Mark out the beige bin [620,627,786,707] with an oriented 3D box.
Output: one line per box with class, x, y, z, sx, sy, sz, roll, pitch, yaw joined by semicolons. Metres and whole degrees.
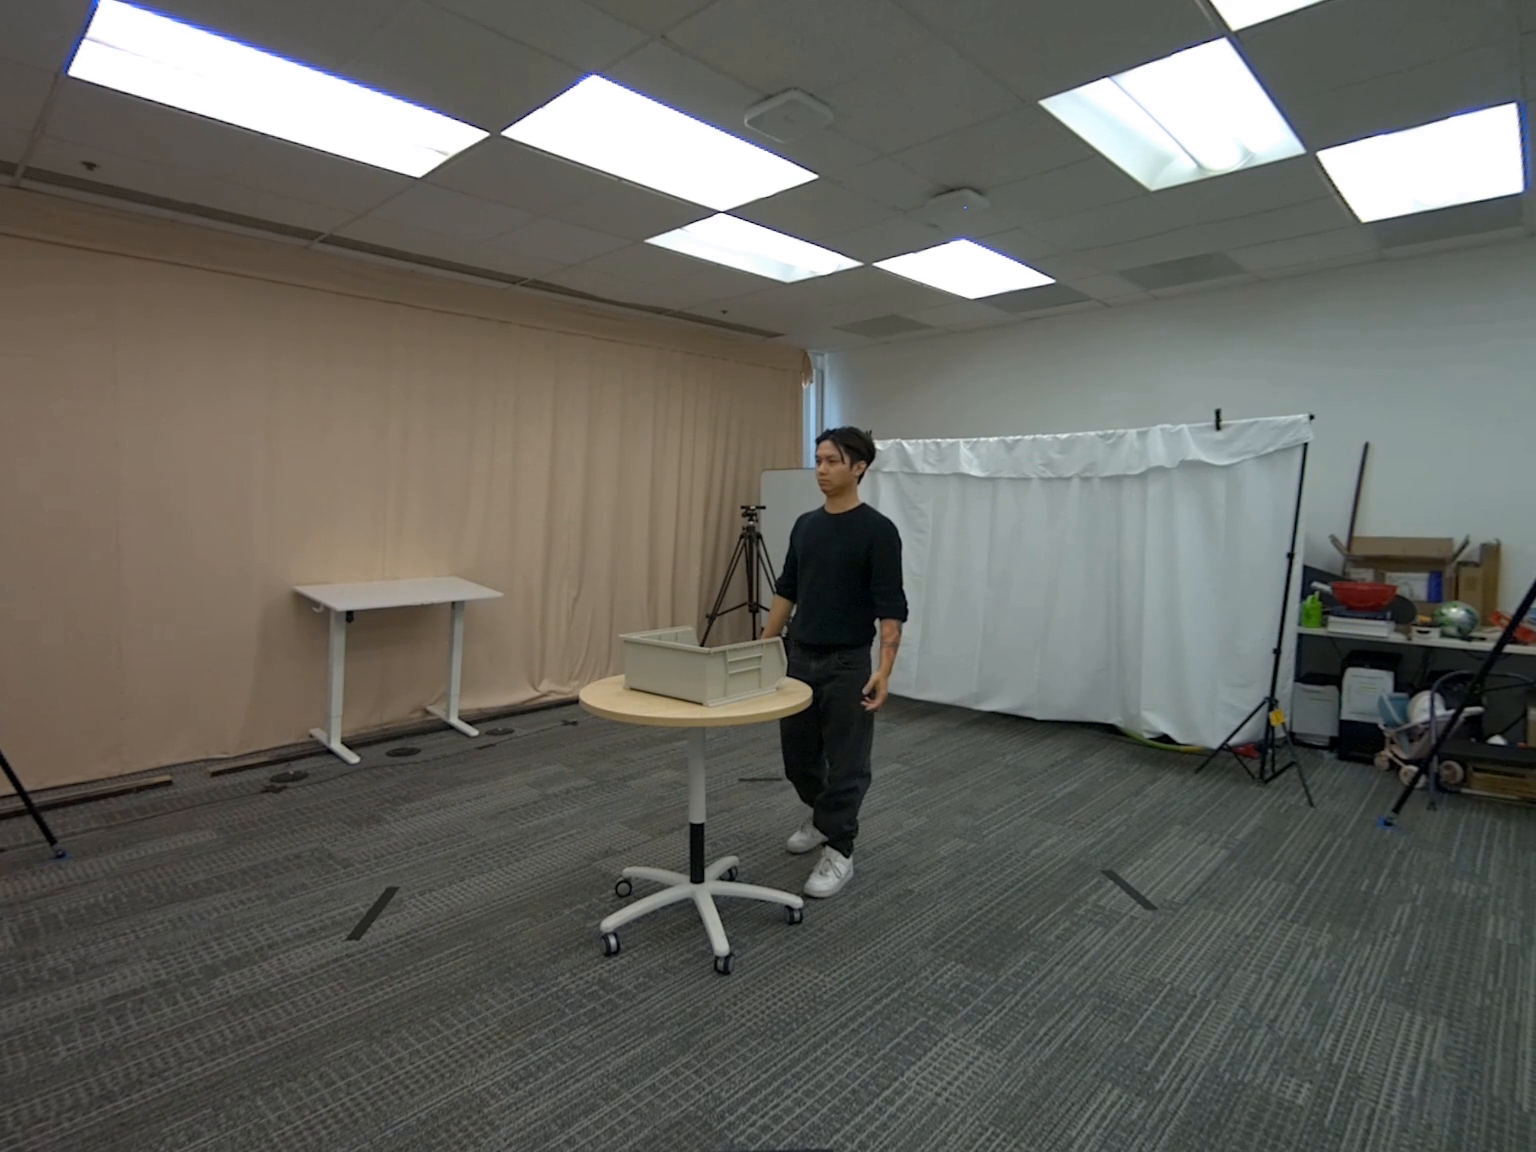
beige bin;-0.215;0.289;2.788;0.436;0.188;0.366;4;7;42
